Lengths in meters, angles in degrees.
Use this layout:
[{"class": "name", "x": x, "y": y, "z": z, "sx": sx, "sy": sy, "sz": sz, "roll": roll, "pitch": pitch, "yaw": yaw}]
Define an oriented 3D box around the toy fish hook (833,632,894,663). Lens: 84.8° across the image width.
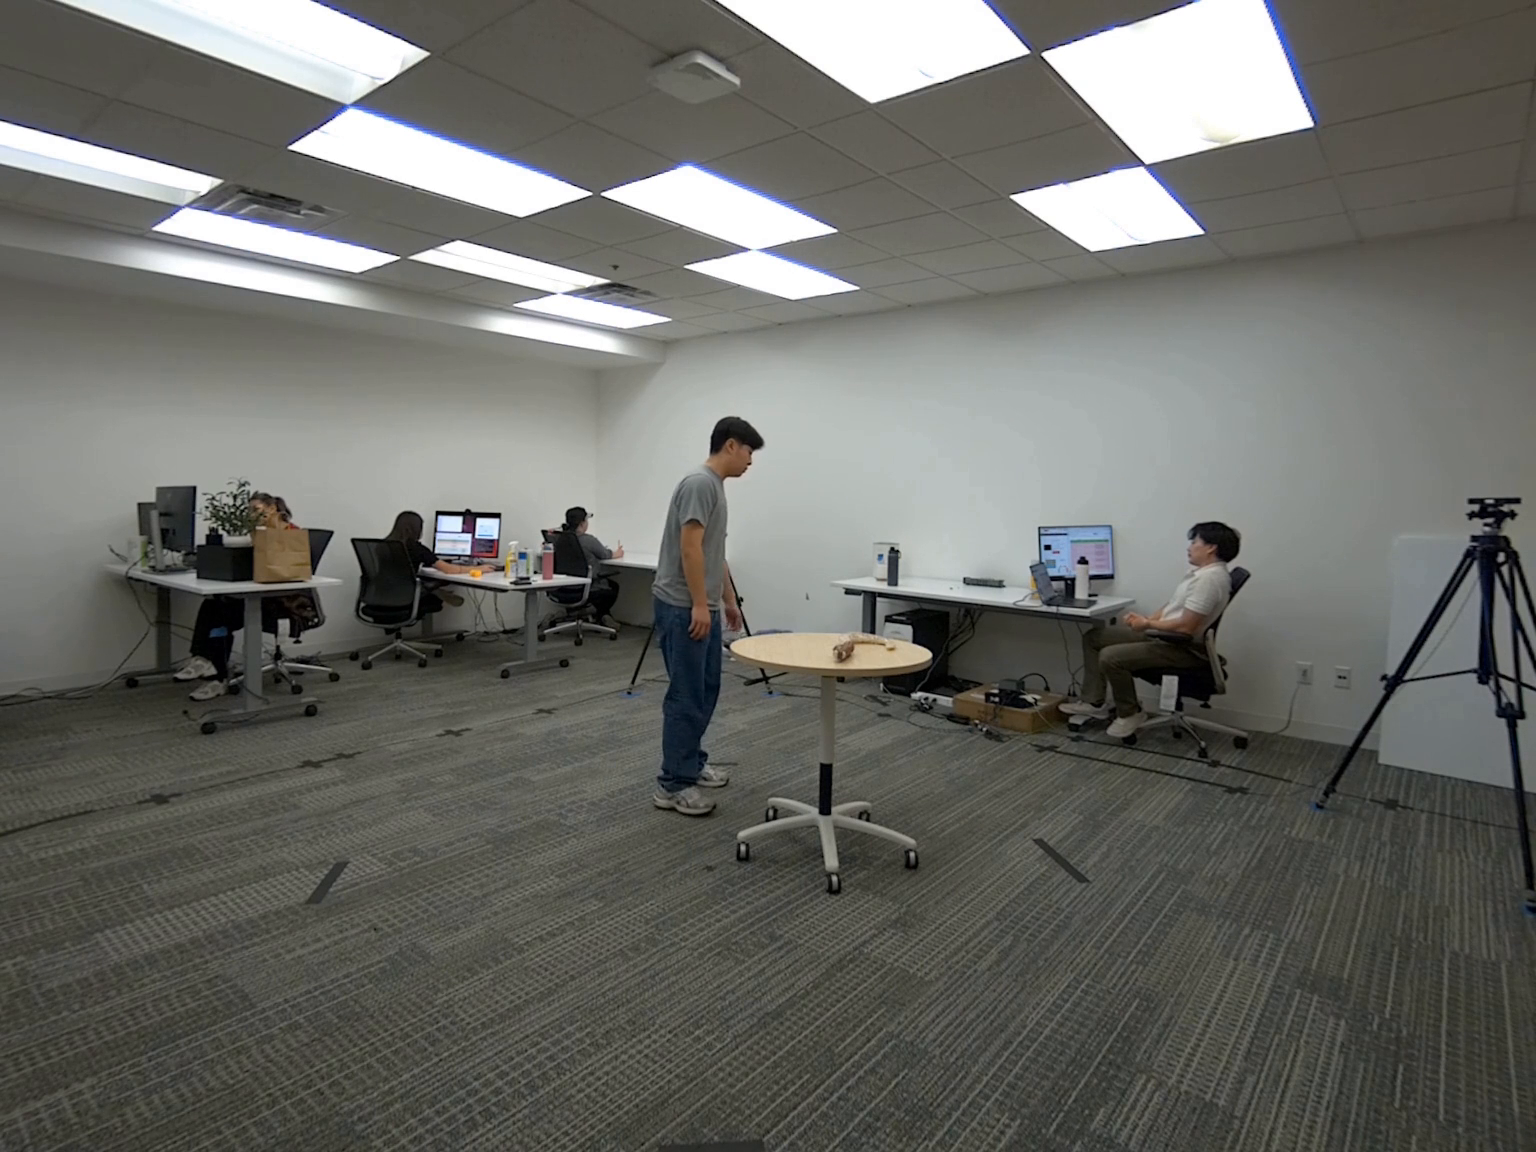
[{"class": "toy fish hook", "x": 0.351, "y": 0.267, "z": 3.213, "sx": 0.228, "sy": 0.048, "sz": 0.500, "roll": 2, "pitch": 5, "yaw": 14}]
